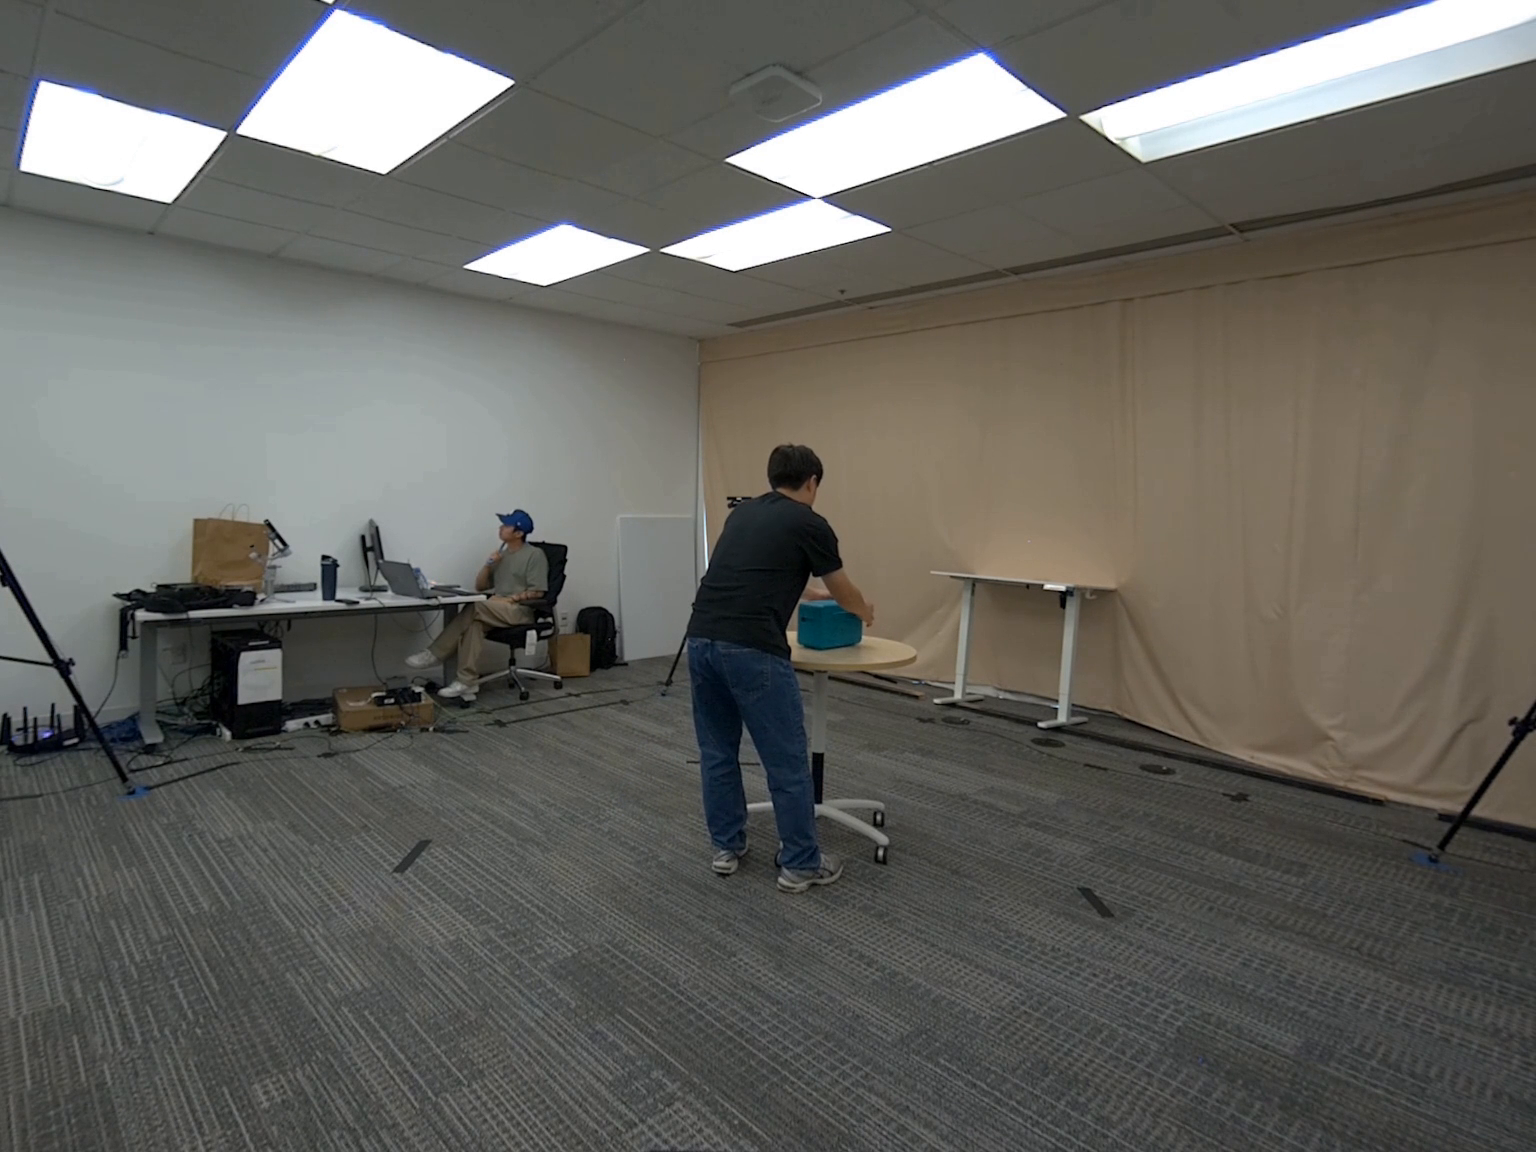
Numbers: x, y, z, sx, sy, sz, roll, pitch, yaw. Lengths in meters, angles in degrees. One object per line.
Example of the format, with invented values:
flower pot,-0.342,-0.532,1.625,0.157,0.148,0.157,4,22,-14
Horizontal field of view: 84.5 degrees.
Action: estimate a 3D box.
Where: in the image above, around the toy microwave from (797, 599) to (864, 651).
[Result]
toy microwave,0.248,0.198,3.479,0.156,0.183,0.280,6,6,45
